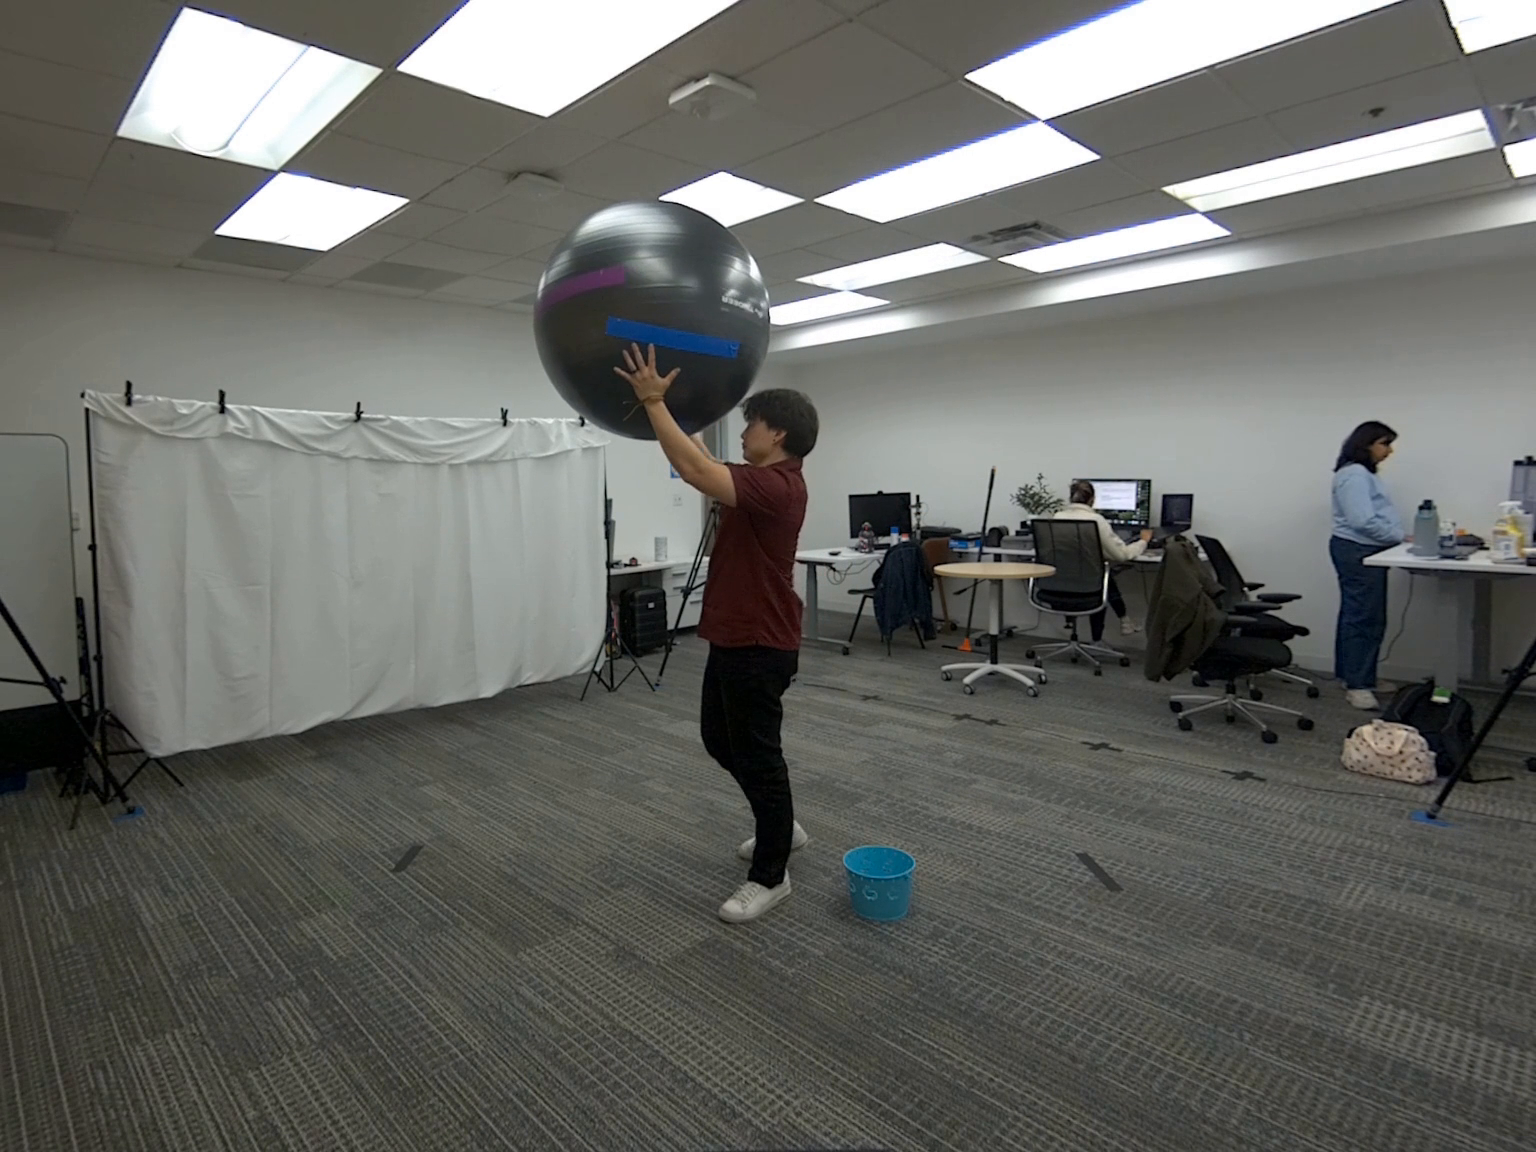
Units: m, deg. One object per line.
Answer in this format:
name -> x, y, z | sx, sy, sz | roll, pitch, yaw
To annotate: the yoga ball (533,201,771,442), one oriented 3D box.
yoga ball -> -0.372, -0.818, 2.765 | 0.757, 0.755, 0.762 | -1, 5, -2
